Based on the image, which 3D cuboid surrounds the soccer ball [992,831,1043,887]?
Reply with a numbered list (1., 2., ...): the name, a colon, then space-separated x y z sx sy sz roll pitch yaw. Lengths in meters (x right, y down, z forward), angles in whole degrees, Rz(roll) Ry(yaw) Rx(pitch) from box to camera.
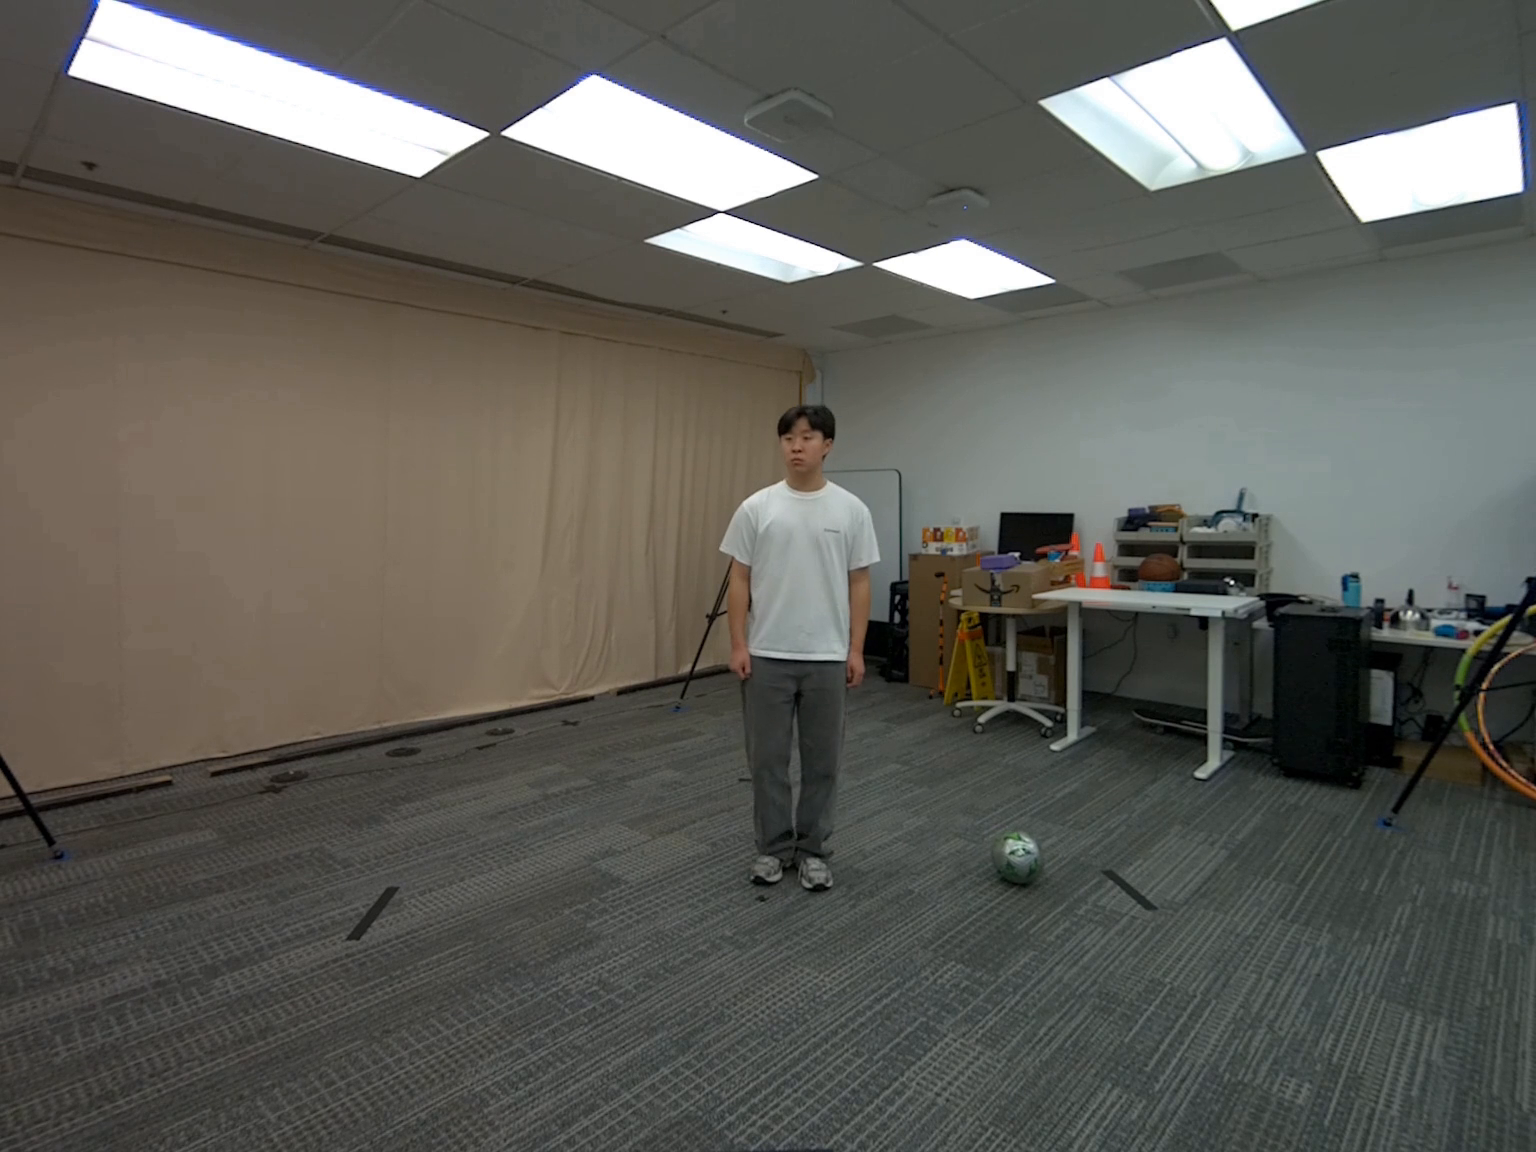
1. soccer ball: 0.933 1.044 3.099 0.187 0.187 0.188 0 4 -2
